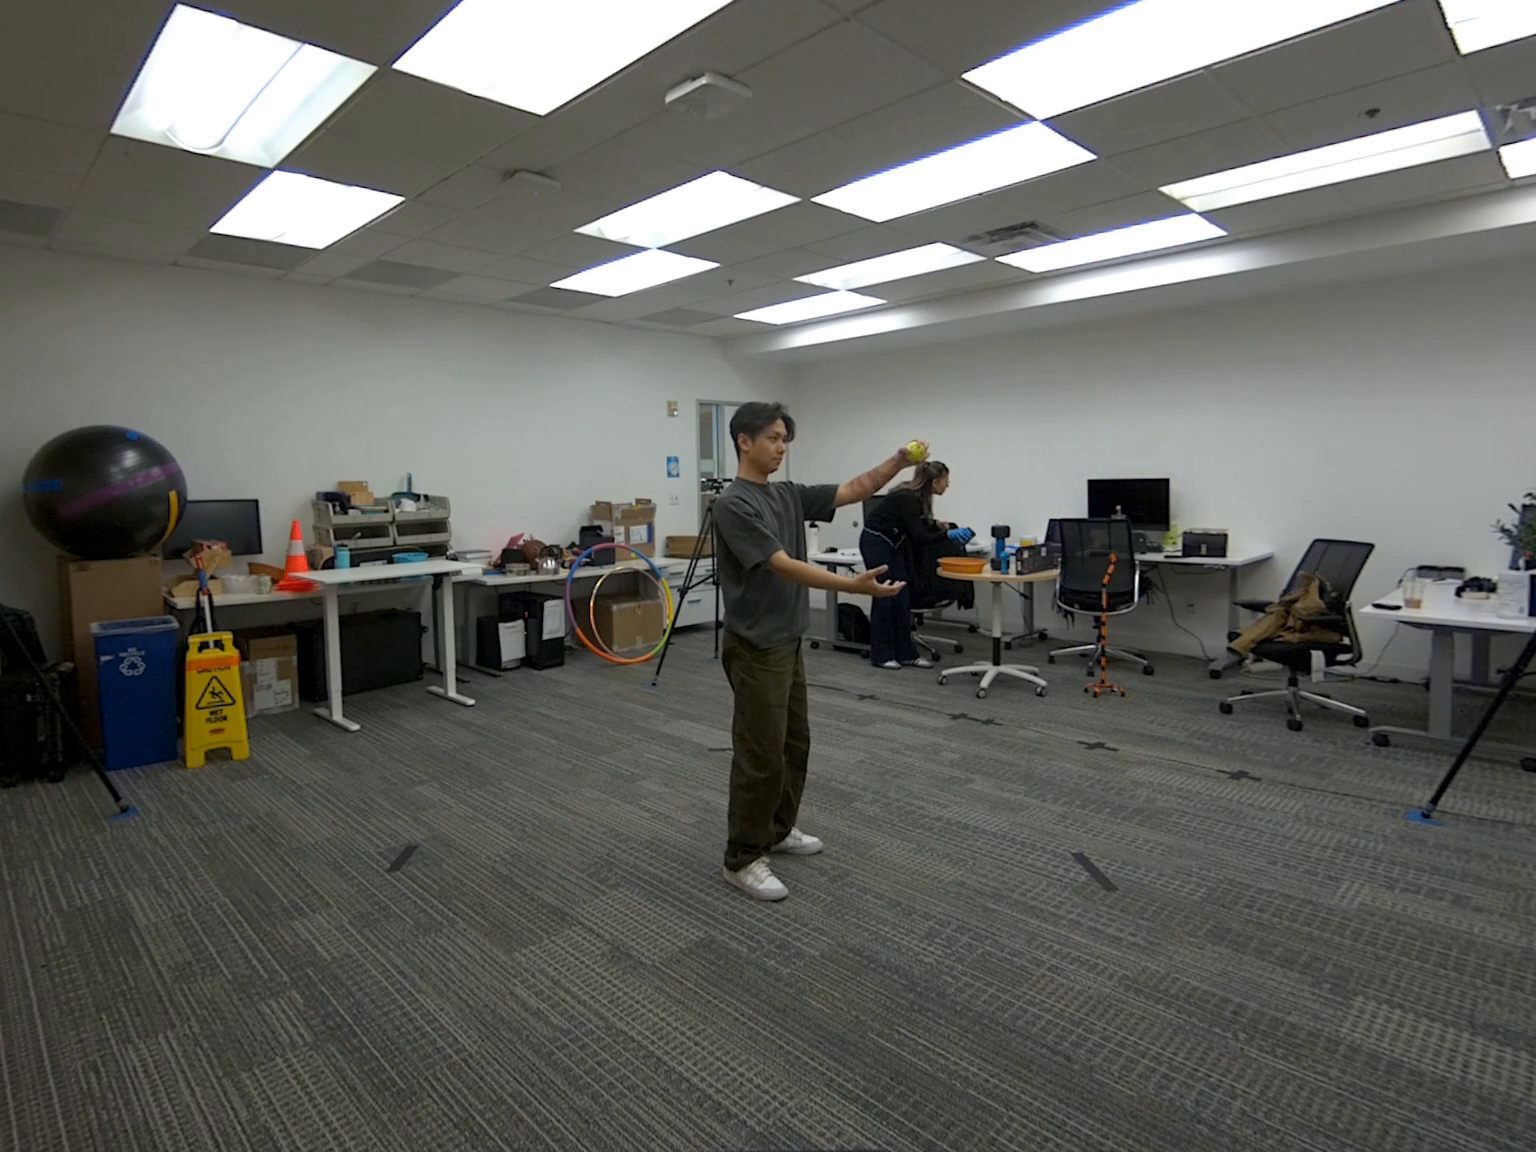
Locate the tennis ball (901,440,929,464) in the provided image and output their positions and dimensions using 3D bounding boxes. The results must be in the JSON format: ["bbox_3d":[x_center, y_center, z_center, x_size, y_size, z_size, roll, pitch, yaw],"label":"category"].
[{"bbox_3d":[0.514,-0.403,2.893,0.066,0.066,0.067,-1,5,-2],"label":"tennis ball"}]
